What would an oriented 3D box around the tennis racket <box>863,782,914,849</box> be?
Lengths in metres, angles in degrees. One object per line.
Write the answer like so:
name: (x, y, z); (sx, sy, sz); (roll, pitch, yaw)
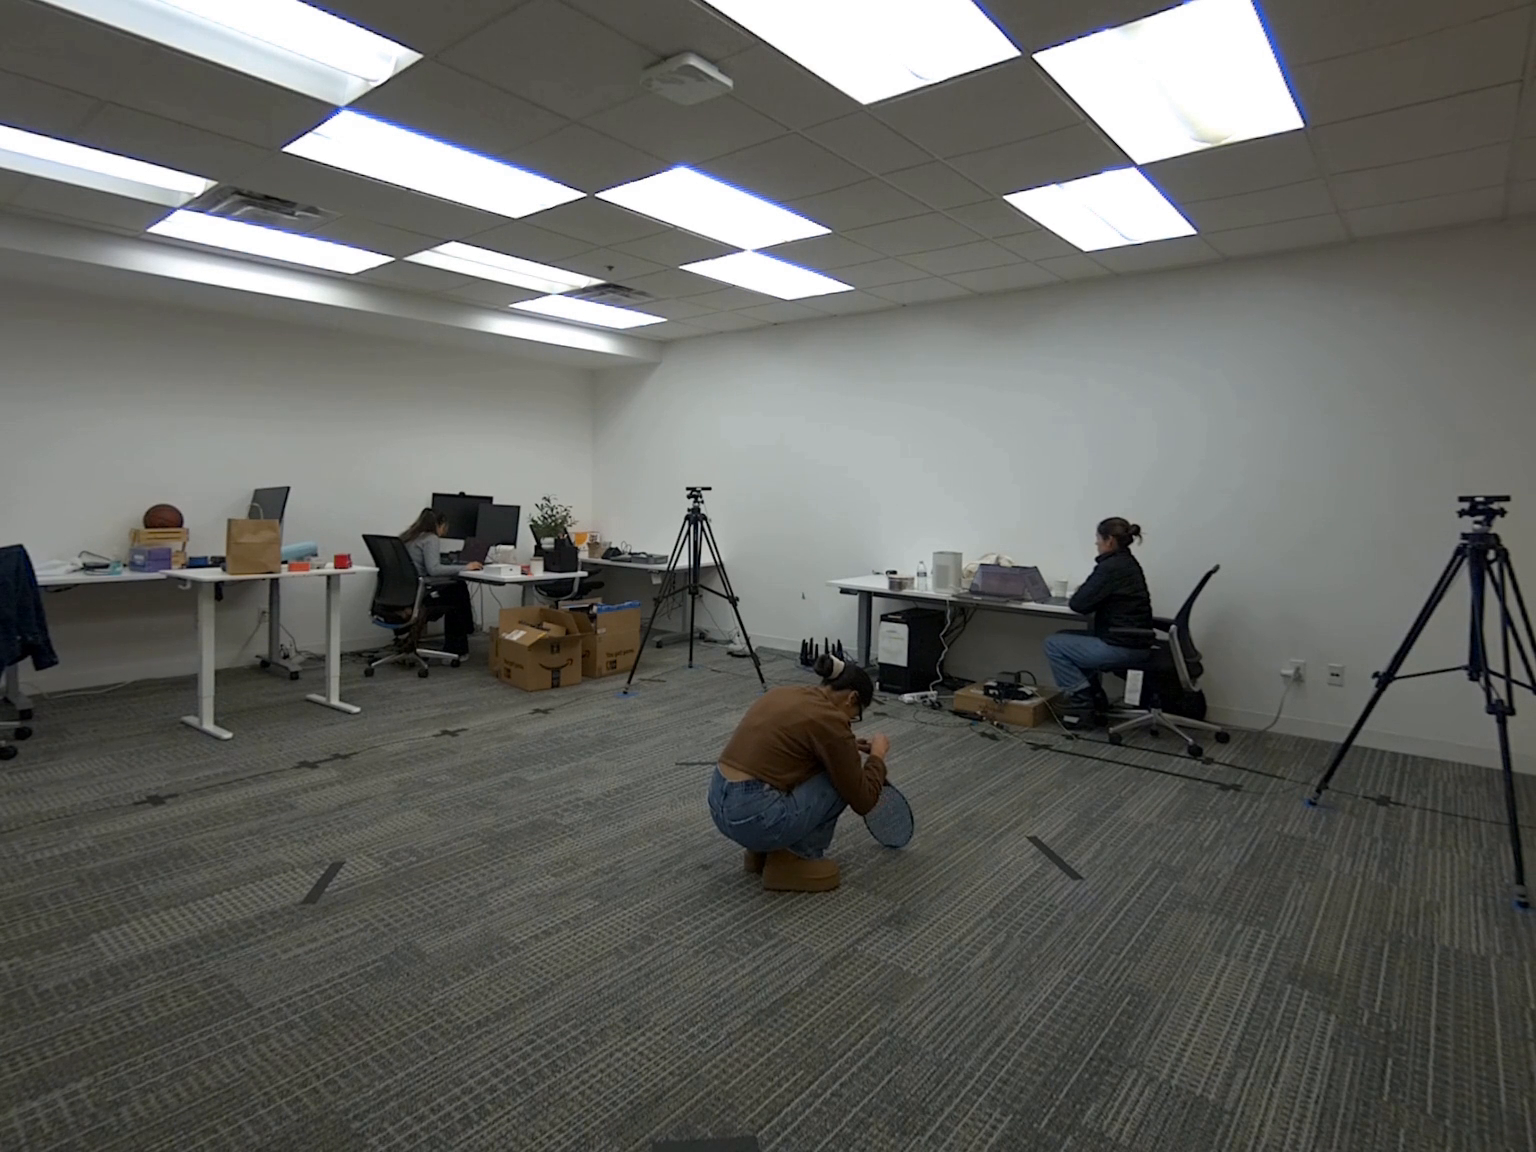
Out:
tennis racket: (0.444, 0.852, 3.296); (0.219, 0.430, 0.031); (-6, 7, 32)
